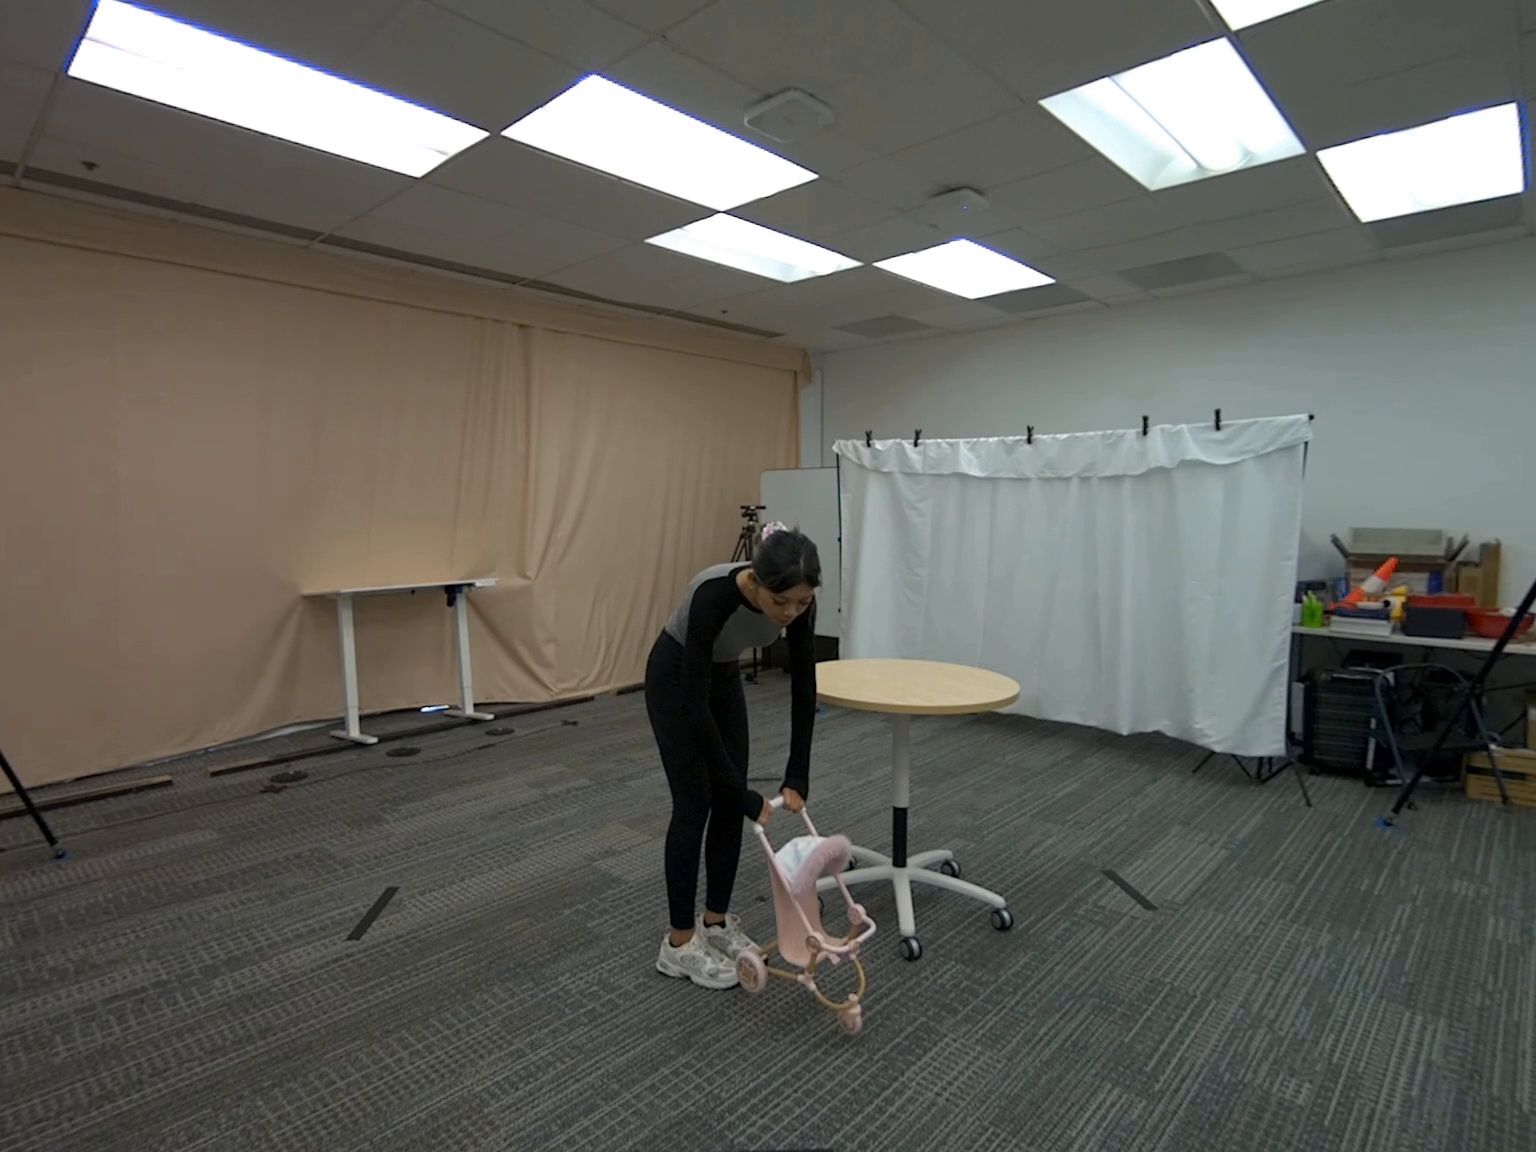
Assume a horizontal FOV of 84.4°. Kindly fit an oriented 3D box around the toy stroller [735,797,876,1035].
[{"bbox_3d":[0.127,0.909,2.242,0.273,0.533,0.353,-3,8,-44],"label":"toy stroller"}]
